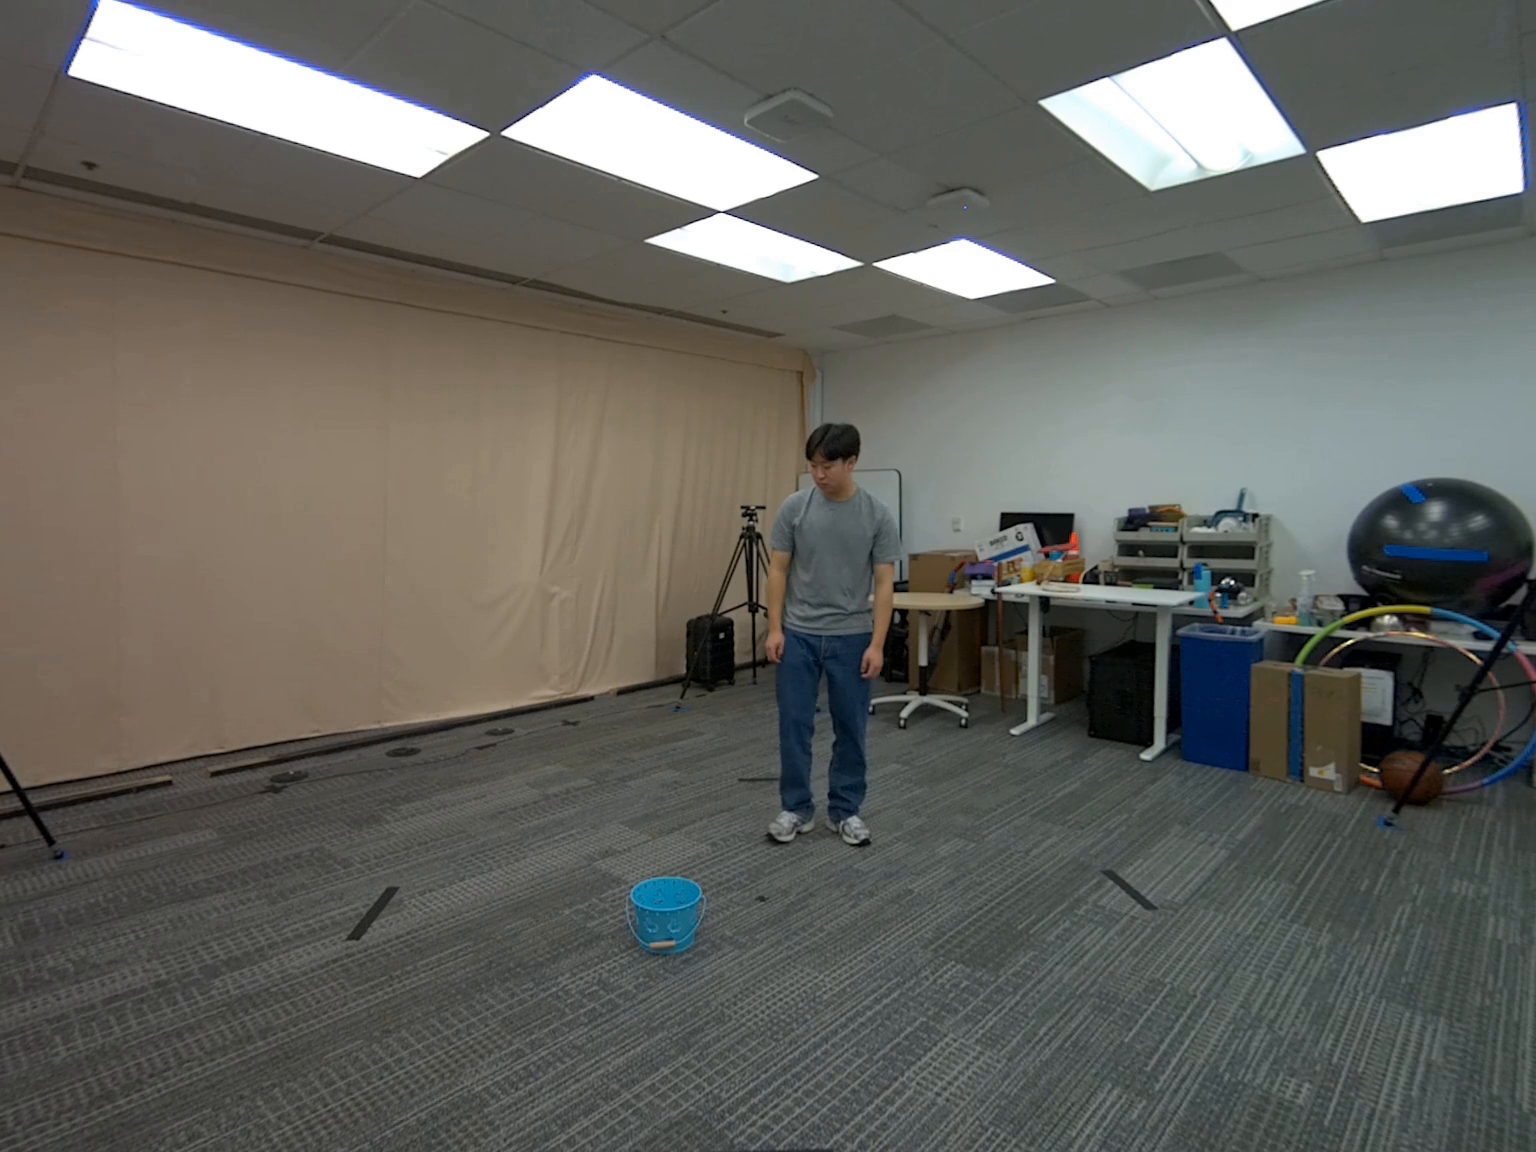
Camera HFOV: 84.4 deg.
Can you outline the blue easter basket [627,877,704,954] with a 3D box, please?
[{"bbox_3d":[-0.327,1.092,2.699,0.243,0.155,0.244,0,4,-2],"label":"blue easter basket"}]
